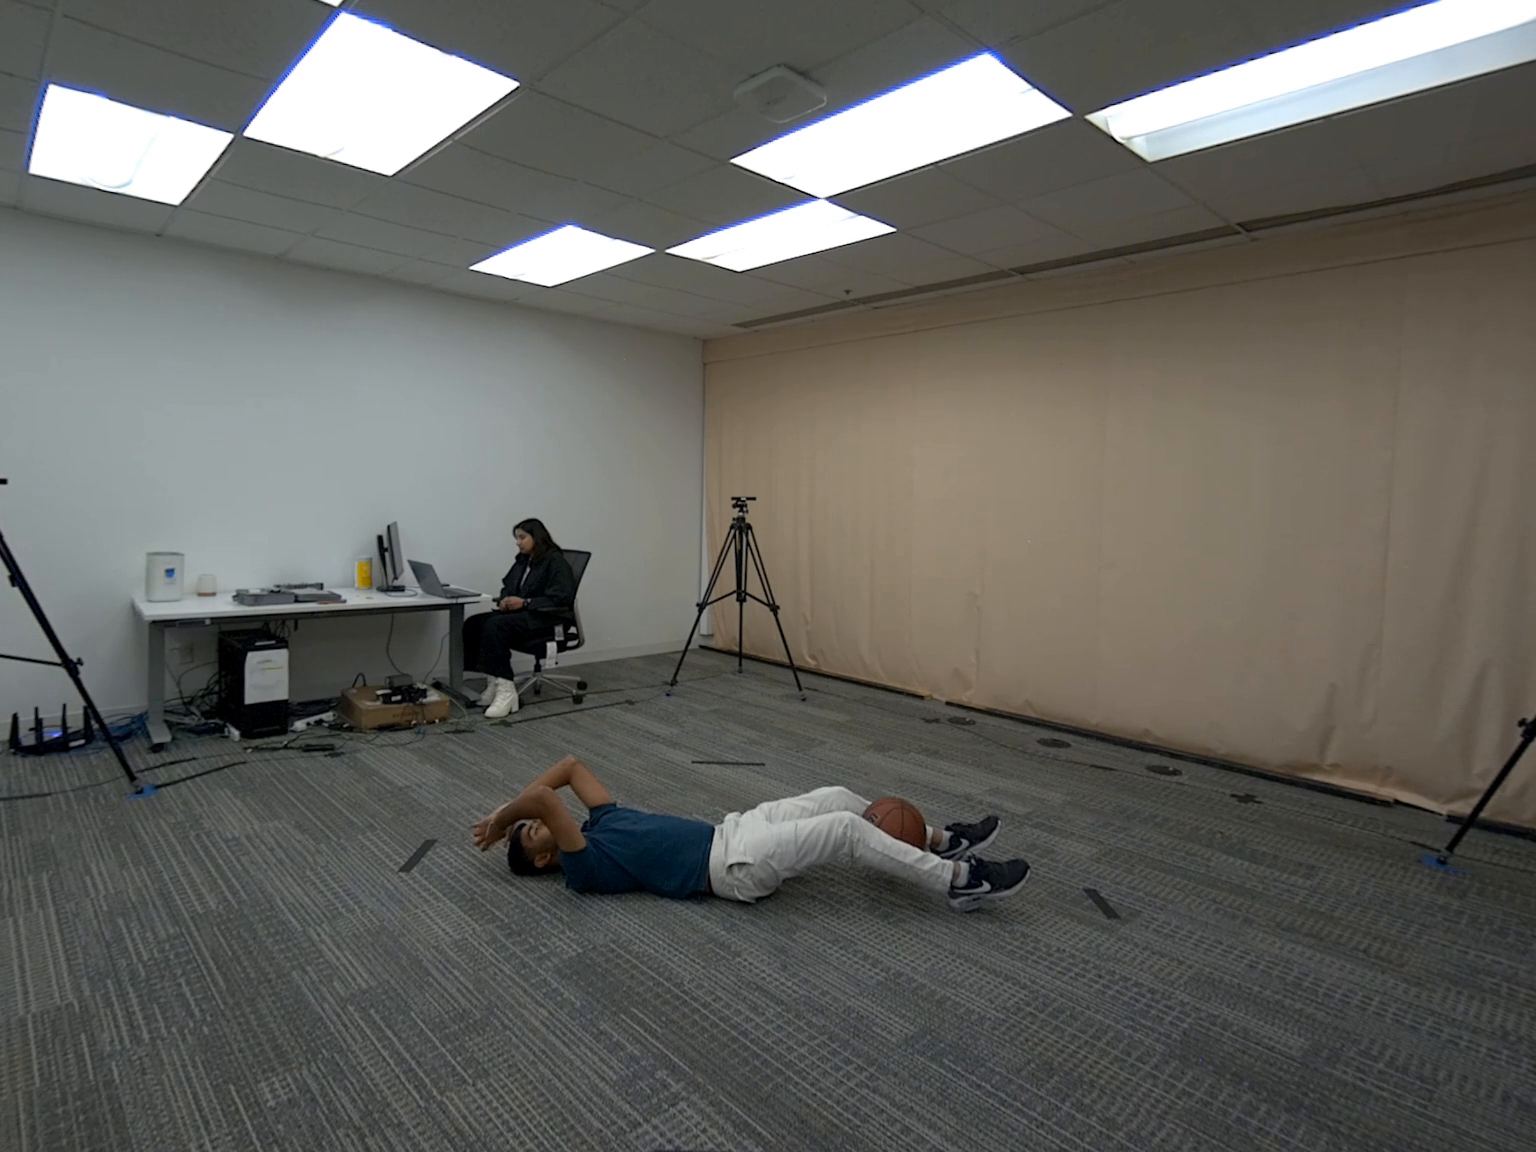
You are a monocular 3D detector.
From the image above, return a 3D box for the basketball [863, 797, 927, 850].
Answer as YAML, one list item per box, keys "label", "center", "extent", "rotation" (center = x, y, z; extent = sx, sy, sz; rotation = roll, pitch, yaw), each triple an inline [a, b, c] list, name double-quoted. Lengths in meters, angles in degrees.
- label: "basketball"
  center: [0.453, 0.913, 3.009]
  extent: [0.236, 0.235, 0.237]
  rotation: [1, 4, -1]
